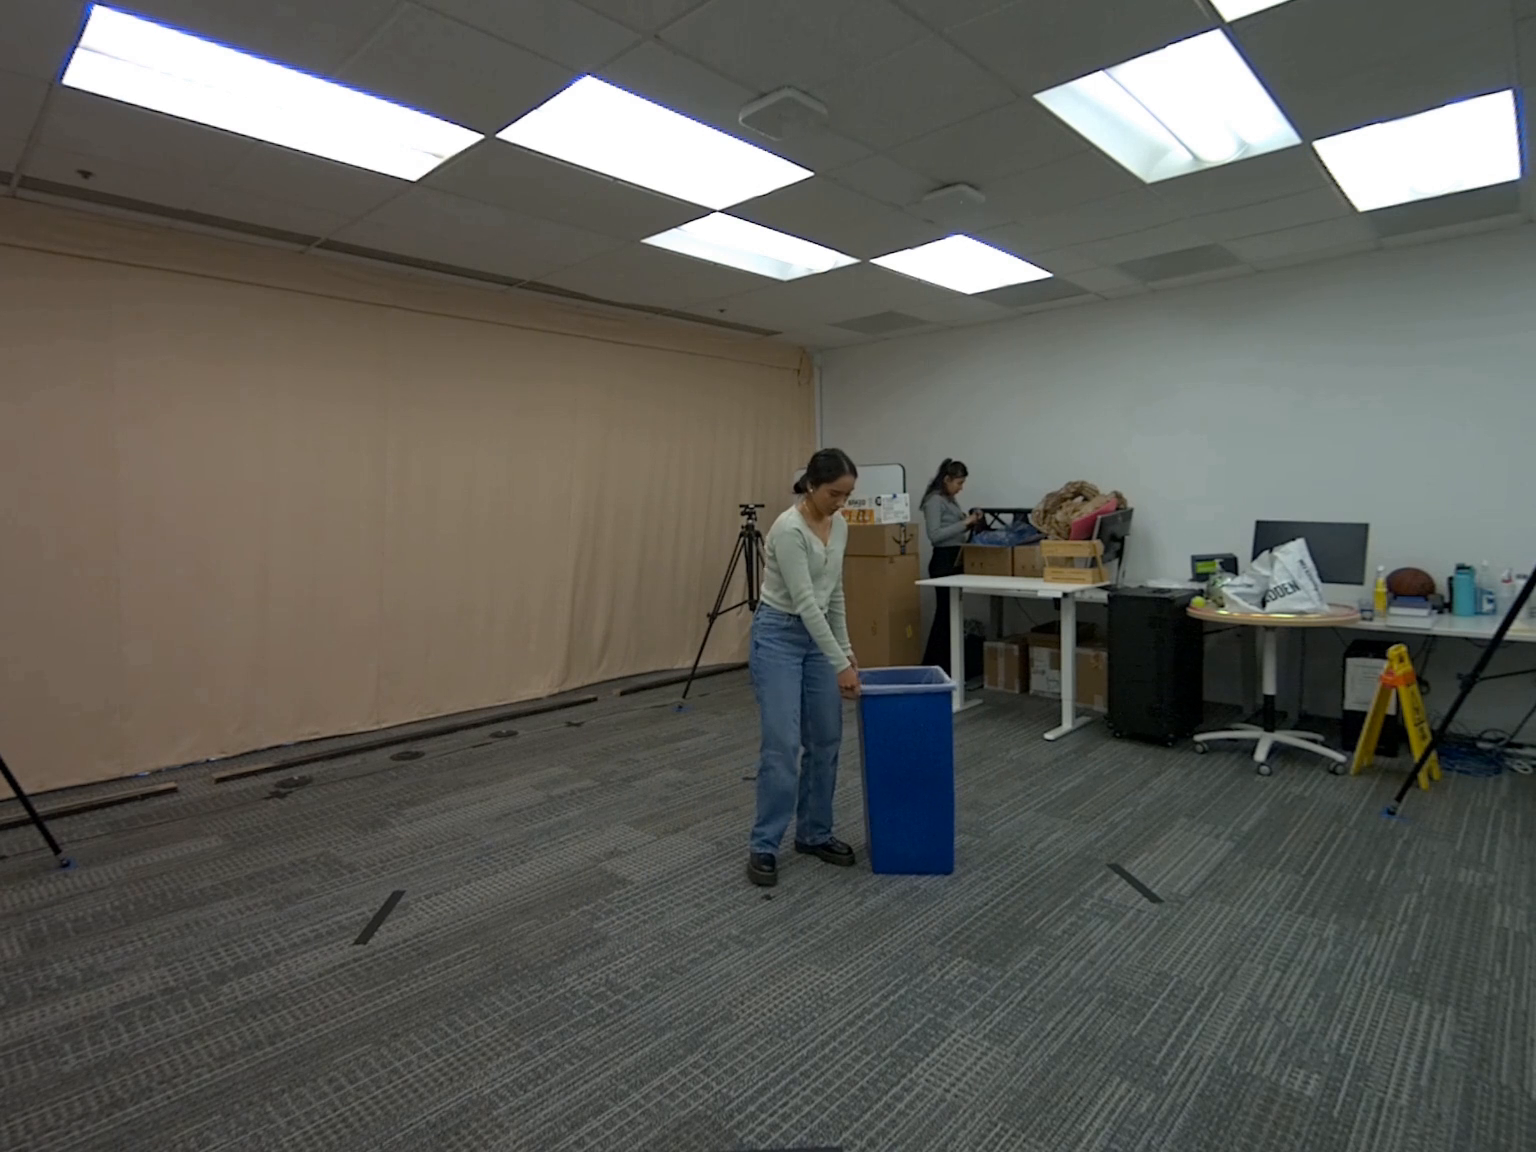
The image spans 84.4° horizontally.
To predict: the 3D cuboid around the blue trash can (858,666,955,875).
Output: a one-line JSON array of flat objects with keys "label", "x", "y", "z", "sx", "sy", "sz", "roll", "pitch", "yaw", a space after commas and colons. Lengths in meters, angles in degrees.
[{"label": "blue trash can", "x": 0.532, "y": 0.745, "z": 3.268, "sx": 0.375, "sy": 0.712, "sz": 0.377, "roll": -2, "pitch": 3, "yaw": 3}]
